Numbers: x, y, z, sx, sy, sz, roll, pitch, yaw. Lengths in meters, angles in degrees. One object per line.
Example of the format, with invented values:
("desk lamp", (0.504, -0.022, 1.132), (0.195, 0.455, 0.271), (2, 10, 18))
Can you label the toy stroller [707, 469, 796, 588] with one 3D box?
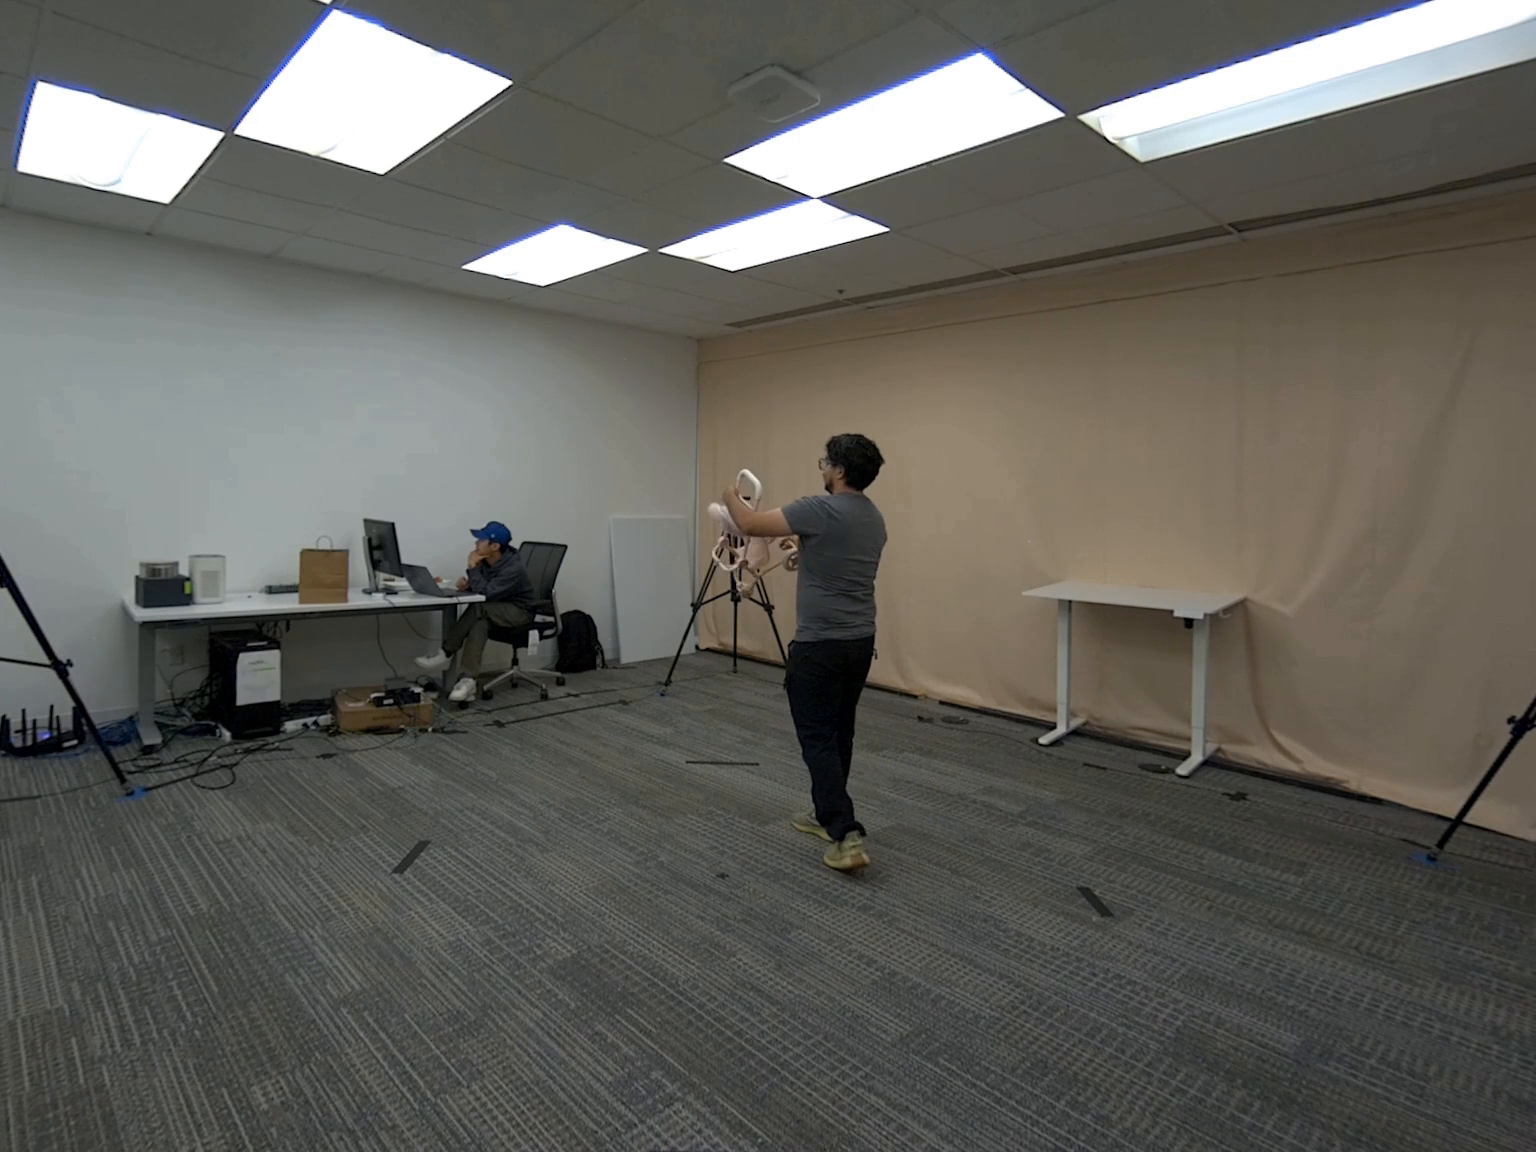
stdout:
("toy stroller", (-0.100, -0.153, 3.591), (0.341, 0.519, 0.290), (-36, 39, -2))
